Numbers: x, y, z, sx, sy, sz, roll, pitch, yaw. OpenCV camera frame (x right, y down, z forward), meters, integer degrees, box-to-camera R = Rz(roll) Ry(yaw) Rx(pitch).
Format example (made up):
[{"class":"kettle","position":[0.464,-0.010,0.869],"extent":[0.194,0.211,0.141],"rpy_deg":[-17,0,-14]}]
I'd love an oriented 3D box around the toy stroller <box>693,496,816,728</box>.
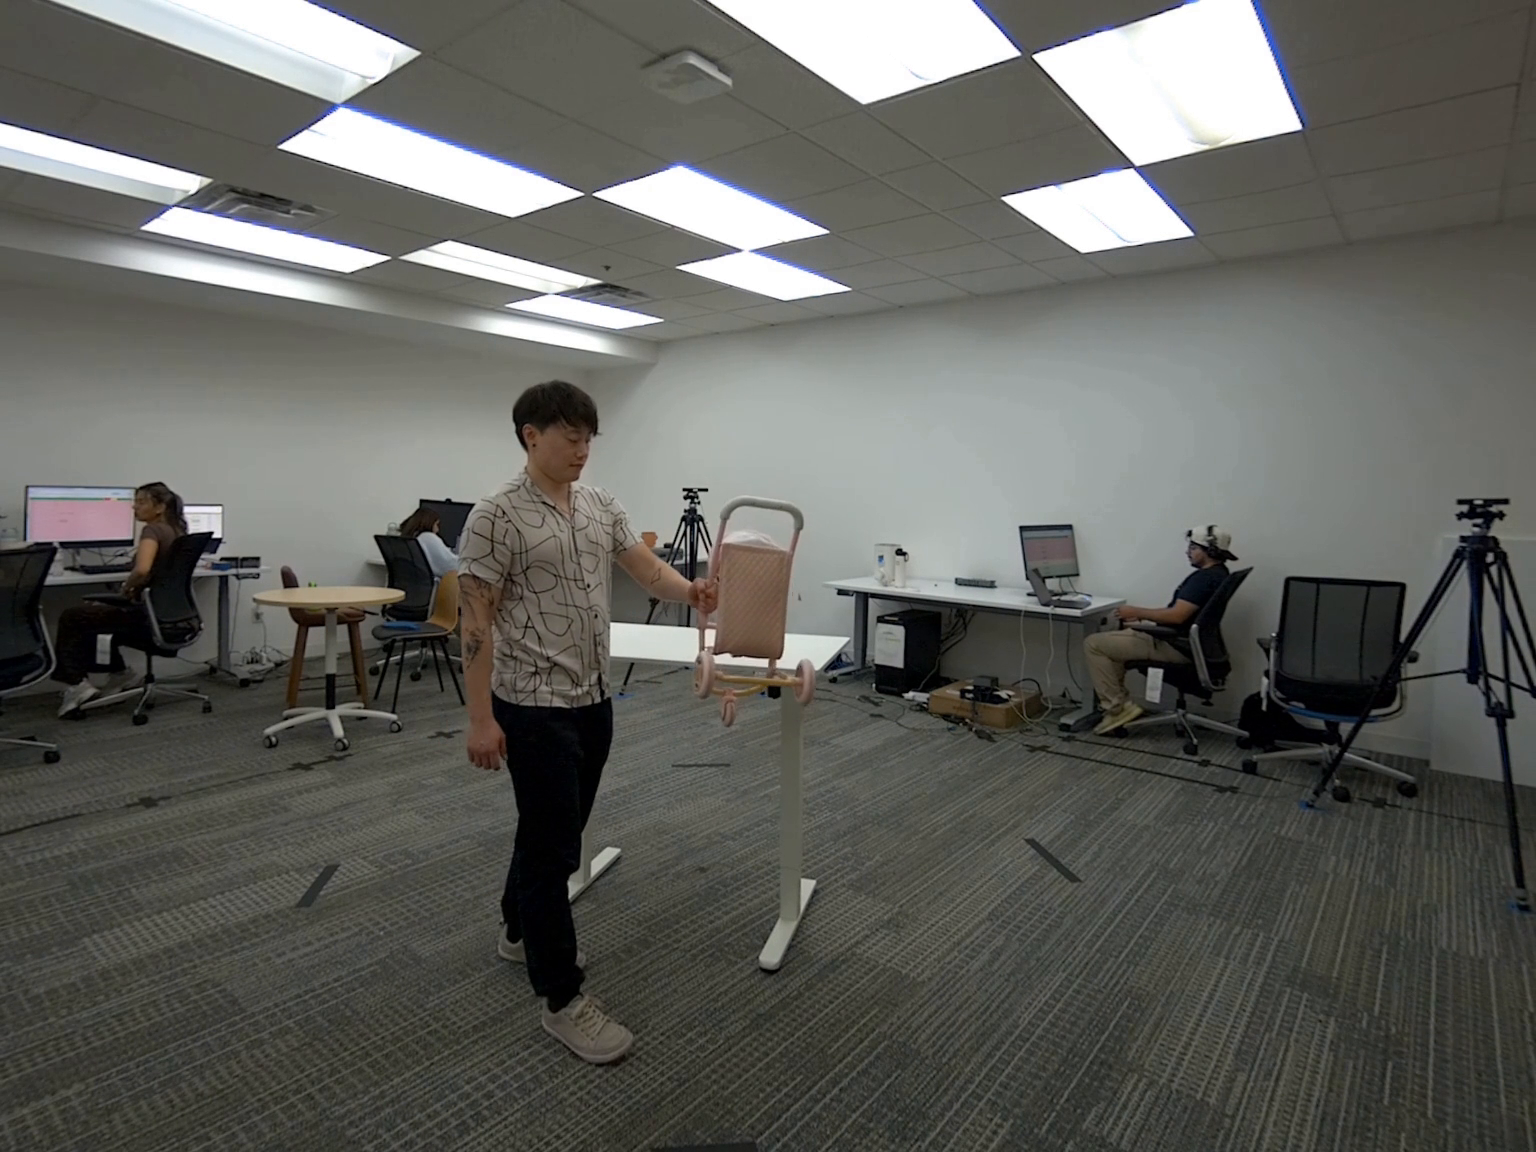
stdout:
[{"class":"toy stroller","position":[-0.061,0.106,2.129],"extent":[0.278,0.542,0.341],"rpy_deg":[4,-13,-11]}]
